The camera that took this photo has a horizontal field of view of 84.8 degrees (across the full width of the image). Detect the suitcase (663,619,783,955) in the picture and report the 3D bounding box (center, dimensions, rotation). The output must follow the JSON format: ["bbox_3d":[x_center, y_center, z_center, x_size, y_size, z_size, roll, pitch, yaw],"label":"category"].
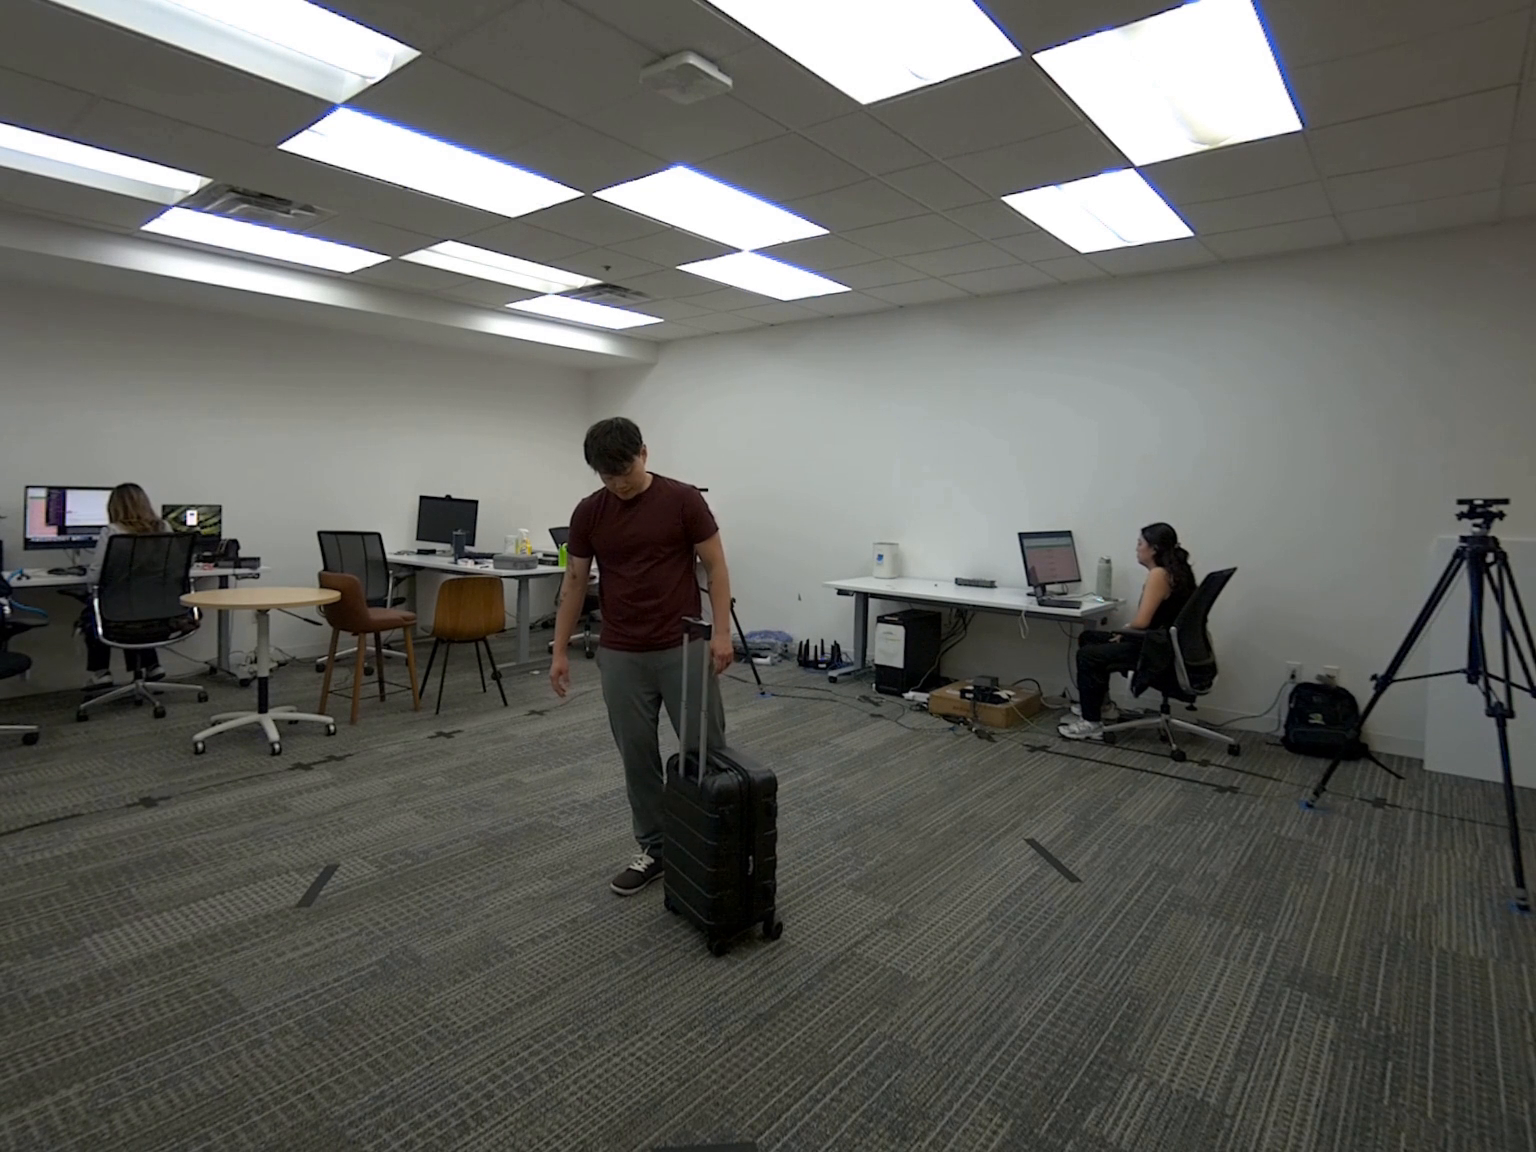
[{"bbox_3d":[-0.153,0.631,2.678,0.250,0.975,0.396,1,4,-29],"label":"suitcase"}]
